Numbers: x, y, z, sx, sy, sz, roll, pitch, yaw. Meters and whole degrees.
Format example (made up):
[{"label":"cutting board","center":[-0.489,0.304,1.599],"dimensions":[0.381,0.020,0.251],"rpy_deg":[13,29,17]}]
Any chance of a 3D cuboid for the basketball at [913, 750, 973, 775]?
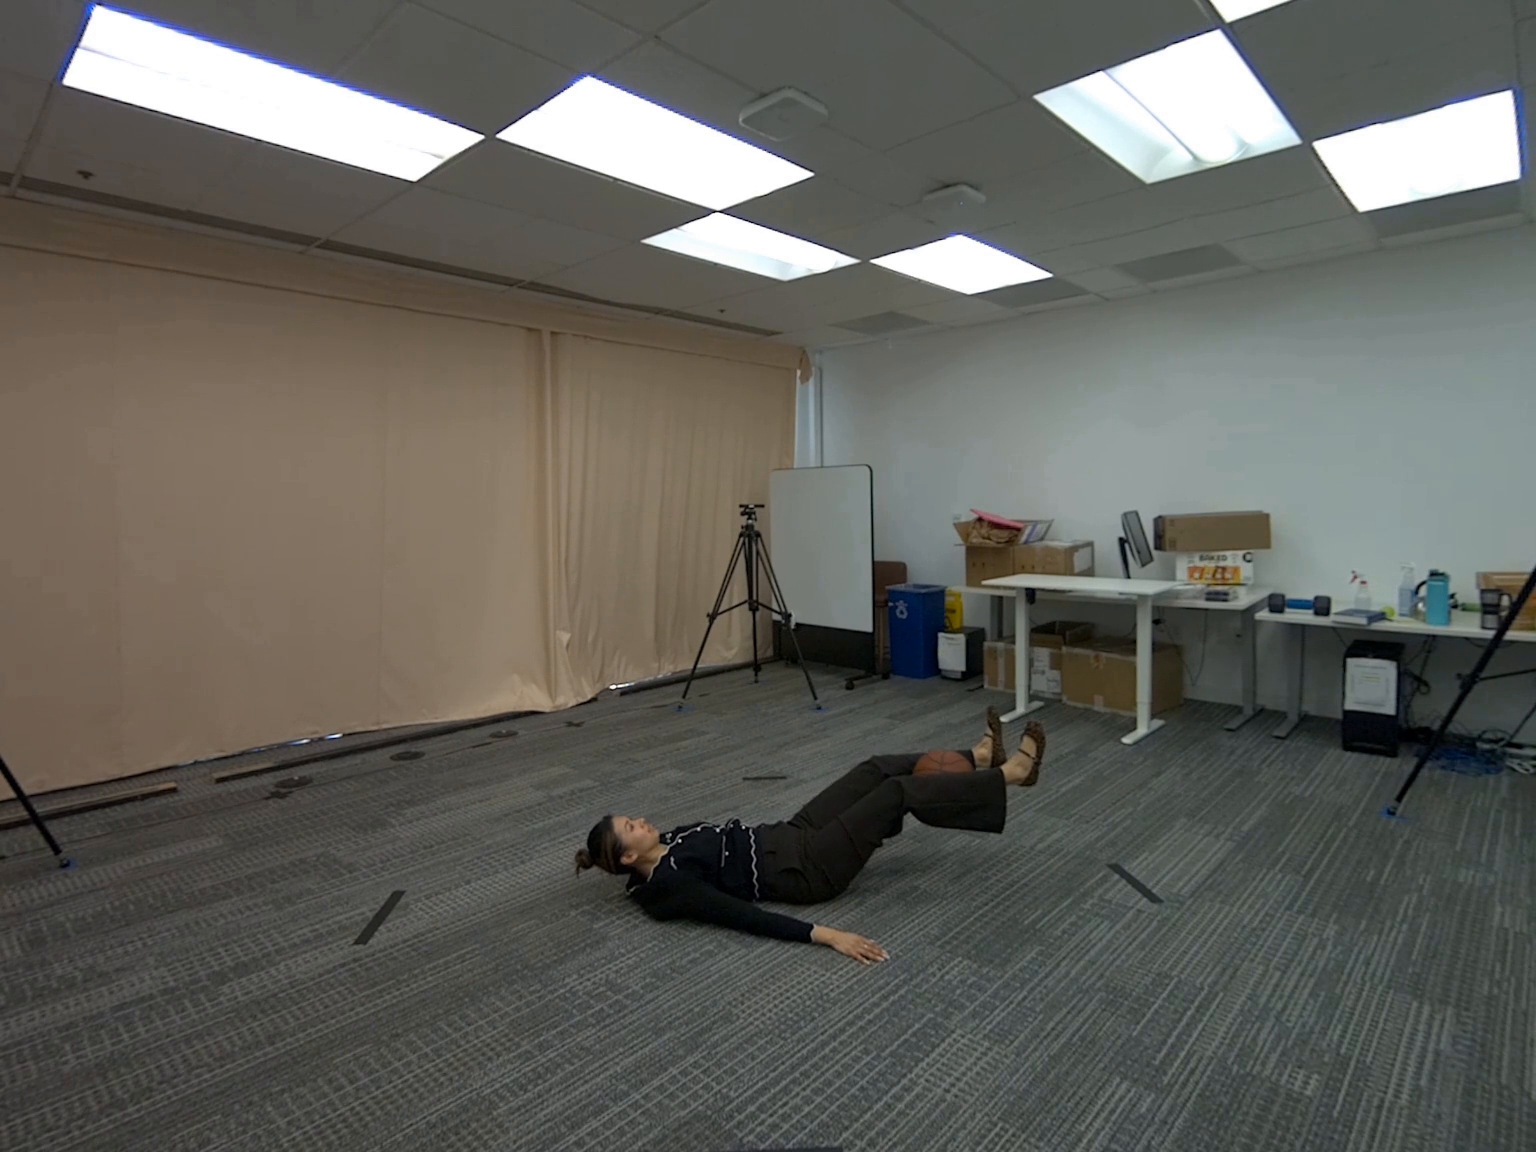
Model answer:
[{"label":"basketball","center":[0.667,0.772,3.147],"dimensions":[0.236,0.235,0.237],"rpy_deg":[-1,4,-2]}]
